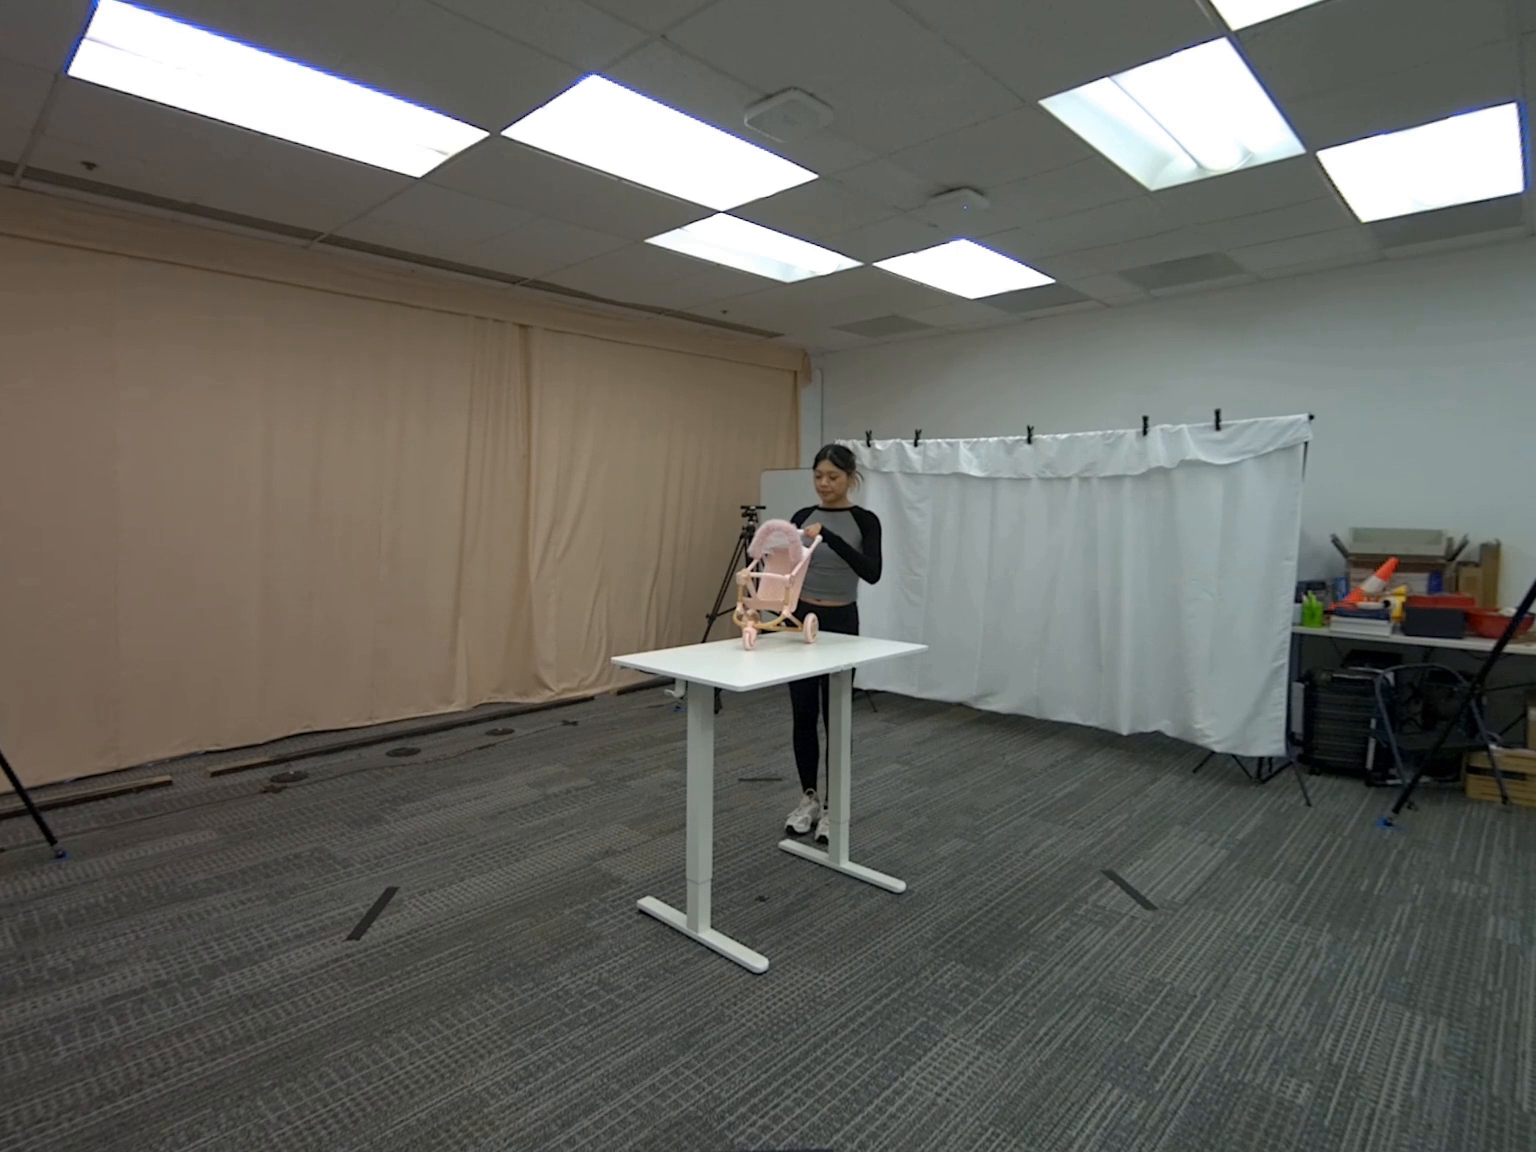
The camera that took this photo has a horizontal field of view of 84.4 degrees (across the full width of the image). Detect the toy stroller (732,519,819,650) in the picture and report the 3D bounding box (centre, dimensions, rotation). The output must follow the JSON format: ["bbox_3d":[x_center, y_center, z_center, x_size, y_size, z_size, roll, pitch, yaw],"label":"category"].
[{"bbox_3d":[0.023,0.026,3.129,0.290,0.538,0.329,1,-14,32],"label":"toy stroller"}]
